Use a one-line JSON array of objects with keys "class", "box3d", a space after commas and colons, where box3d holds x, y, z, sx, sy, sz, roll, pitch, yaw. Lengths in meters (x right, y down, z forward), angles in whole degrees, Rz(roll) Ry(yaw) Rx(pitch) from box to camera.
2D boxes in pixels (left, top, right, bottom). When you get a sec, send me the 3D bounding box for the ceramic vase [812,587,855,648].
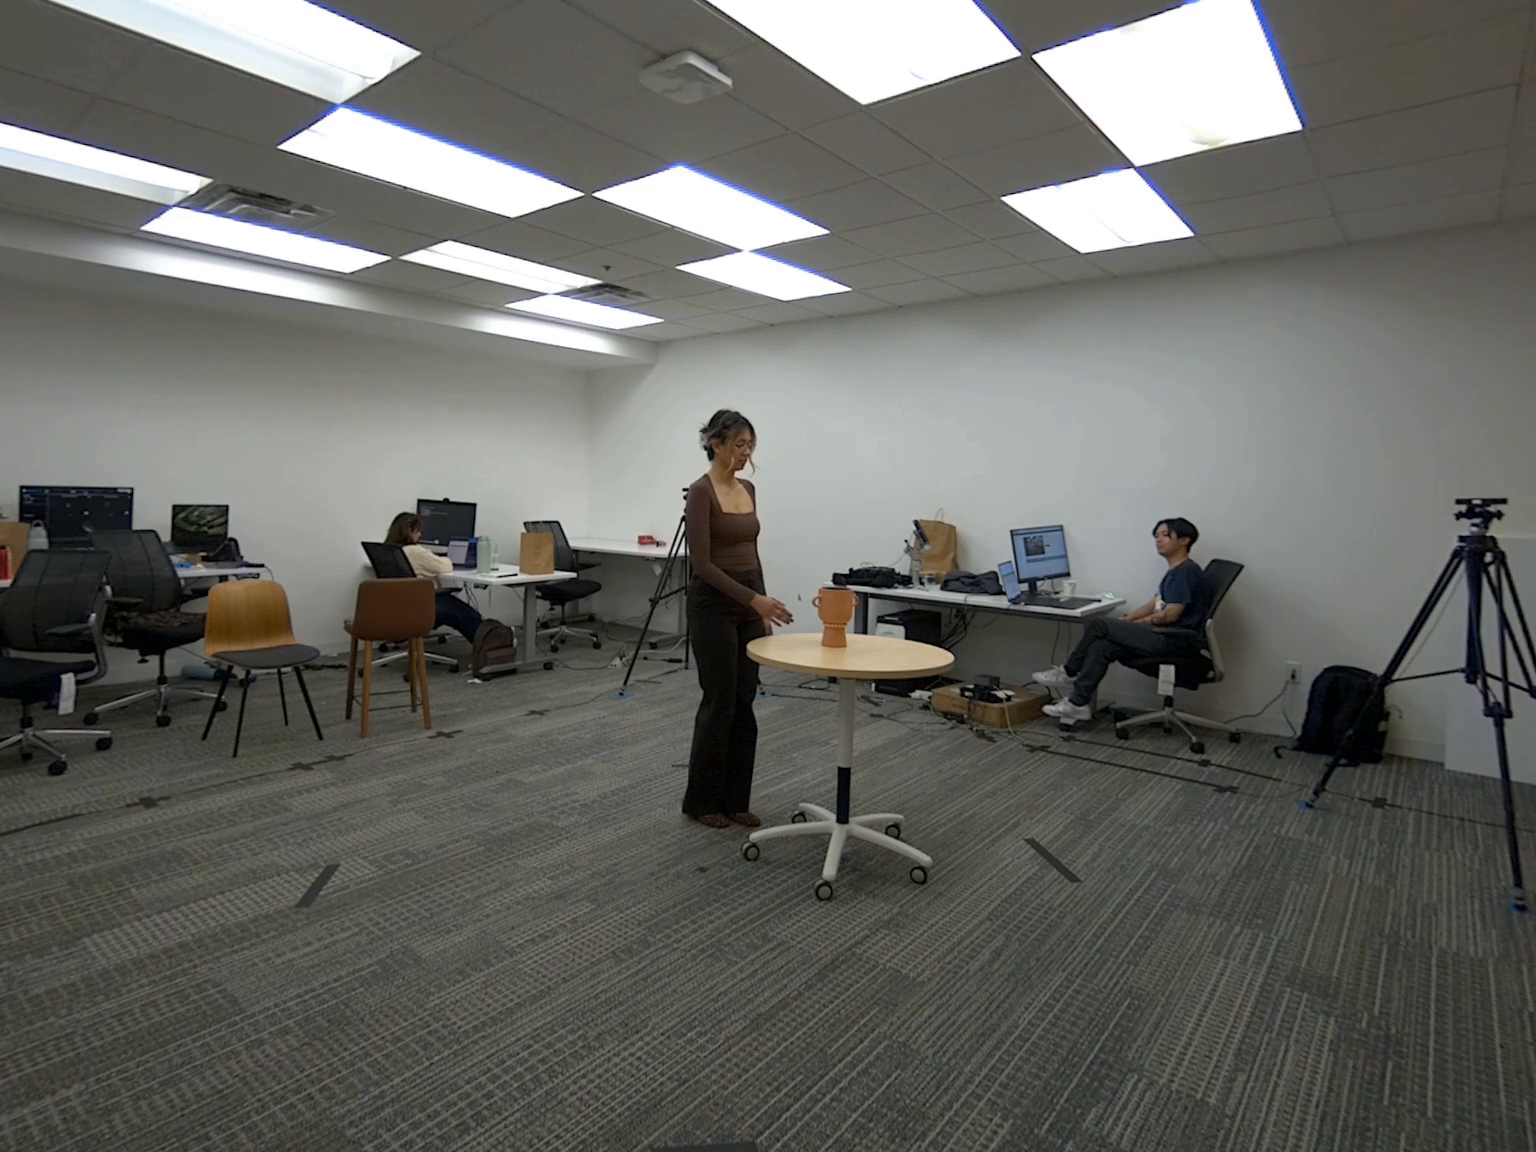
[{"class": "ceramic vase", "box3d": [0.252, 0.157, 3.280, 0.162, 0.219, 0.132, 4, 3, 17]}]
